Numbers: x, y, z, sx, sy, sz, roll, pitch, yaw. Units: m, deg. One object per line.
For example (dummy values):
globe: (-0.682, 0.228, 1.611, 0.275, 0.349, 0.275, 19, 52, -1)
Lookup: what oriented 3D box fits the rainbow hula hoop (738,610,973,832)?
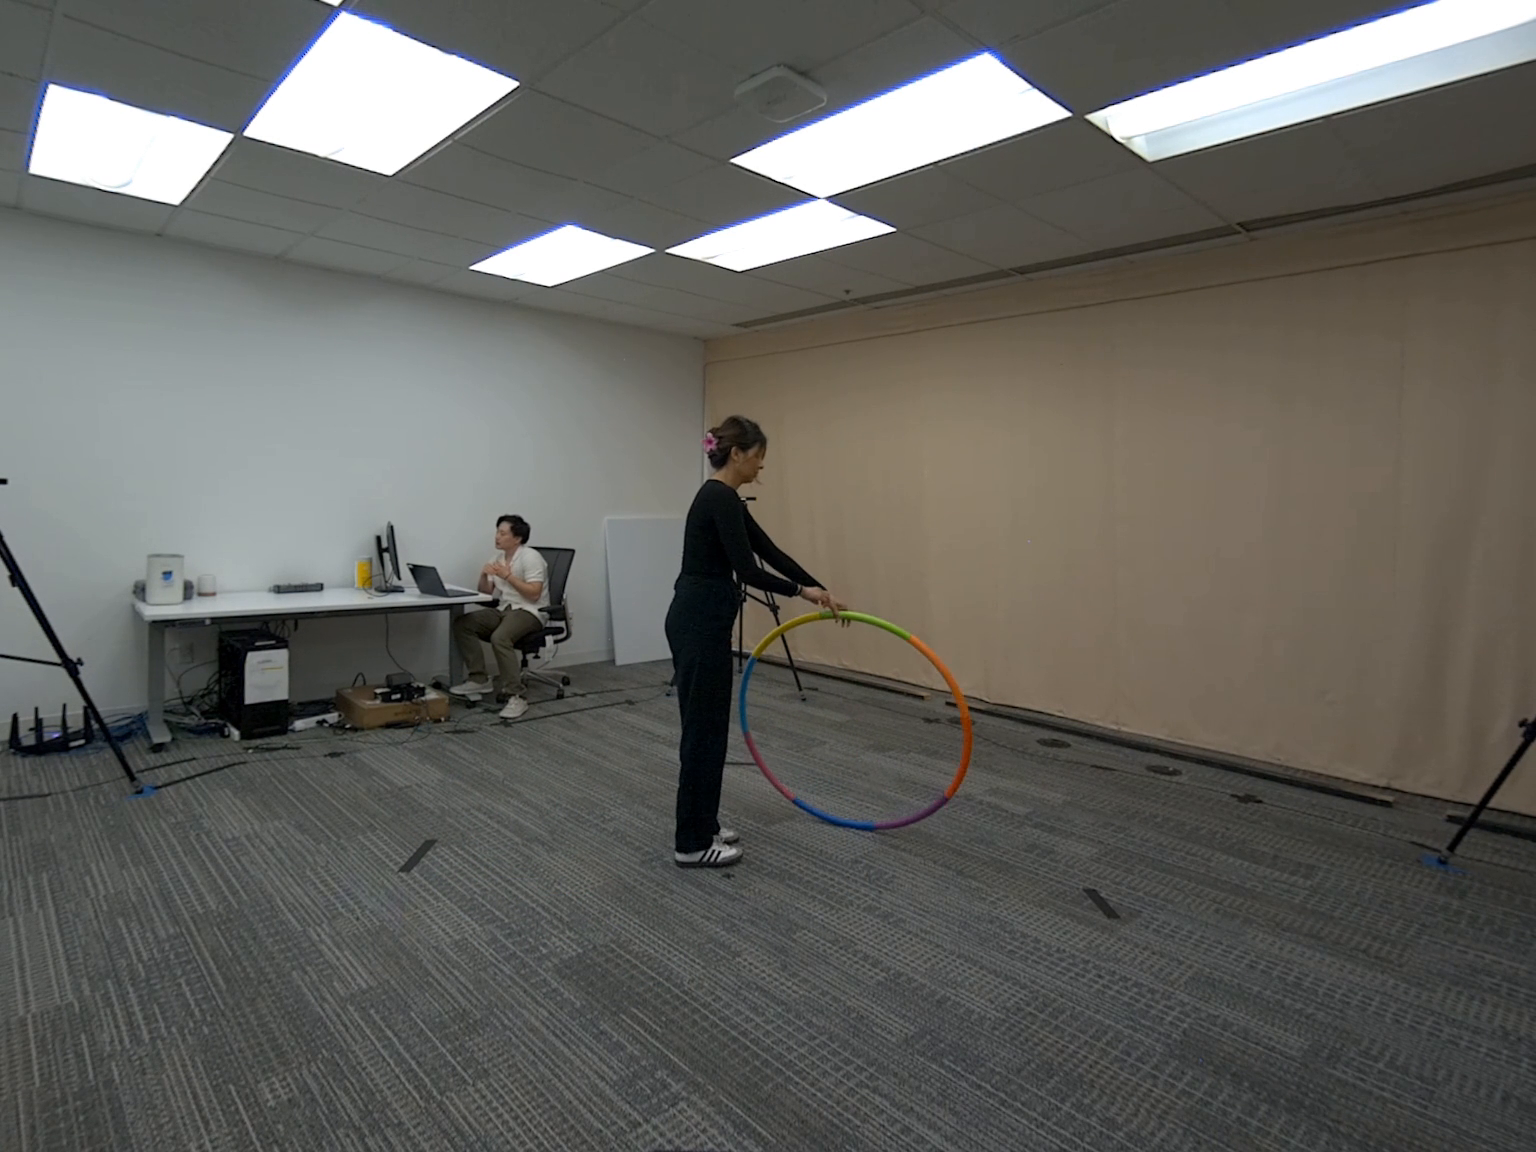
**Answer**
rainbow hula hoop: (0.319, 0.609, 3.495, 0.997, 0.968, 0.035, 3, 15, 24)
